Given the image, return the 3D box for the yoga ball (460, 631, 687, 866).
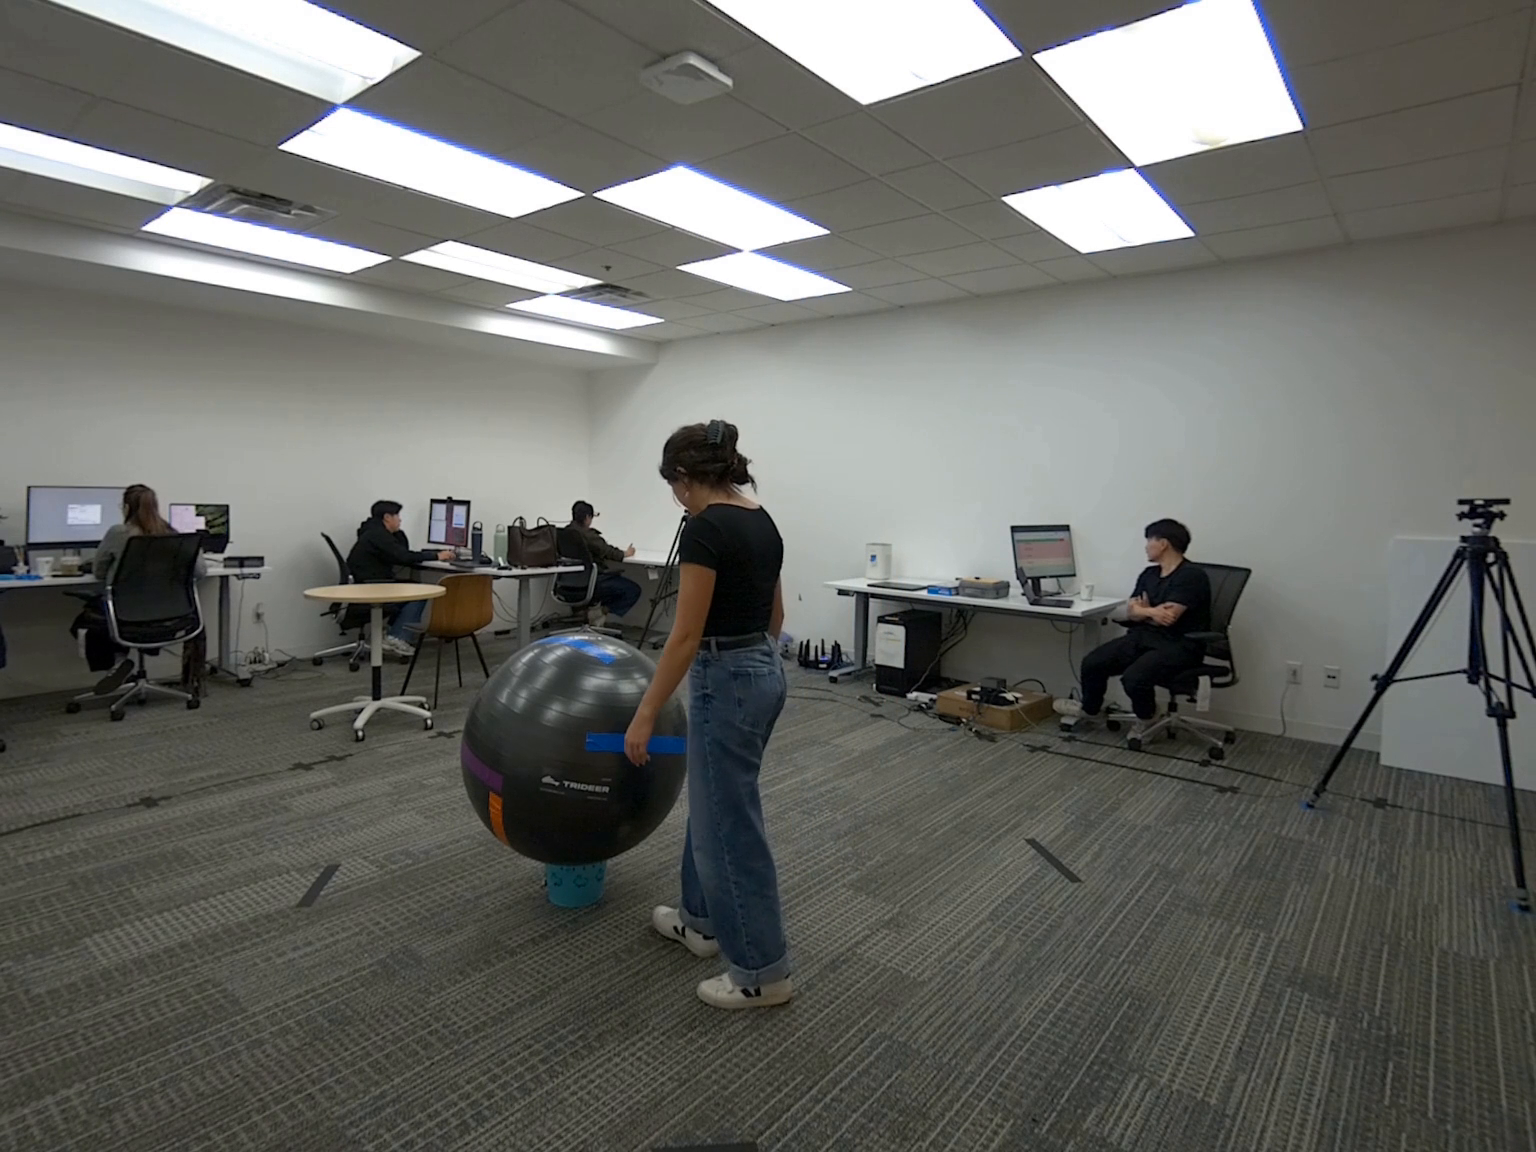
[{"bbox_3d":[-0.652,0.572,2.865,0.757,0.755,0.762,1,4,-2],"label":"yoga ball"}]
